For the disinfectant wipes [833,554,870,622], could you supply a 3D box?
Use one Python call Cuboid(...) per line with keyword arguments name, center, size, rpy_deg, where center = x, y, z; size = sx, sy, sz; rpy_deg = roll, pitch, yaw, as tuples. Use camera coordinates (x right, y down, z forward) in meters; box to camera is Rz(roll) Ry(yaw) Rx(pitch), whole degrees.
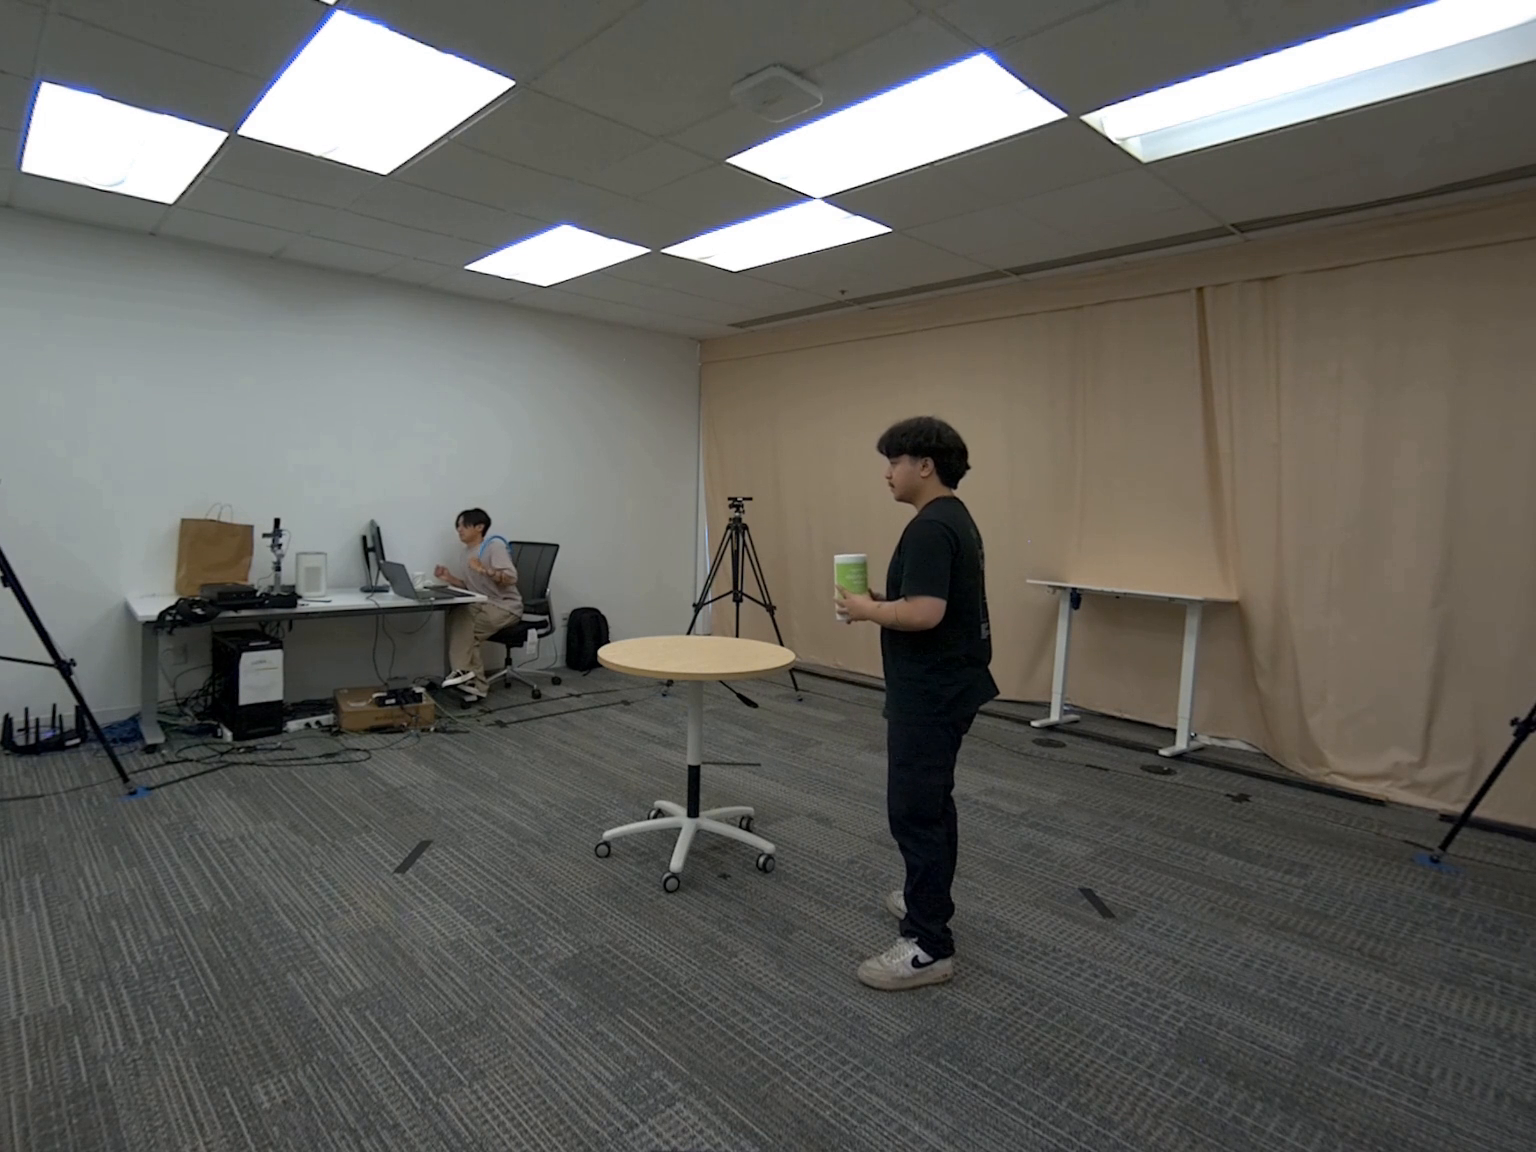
Cuboid(name="disinfectant wipes", center=(0.269, 0.038, 2.761), size=(0.118, 0.217, 0.118), rpy_deg=(-4, 0, -1))
